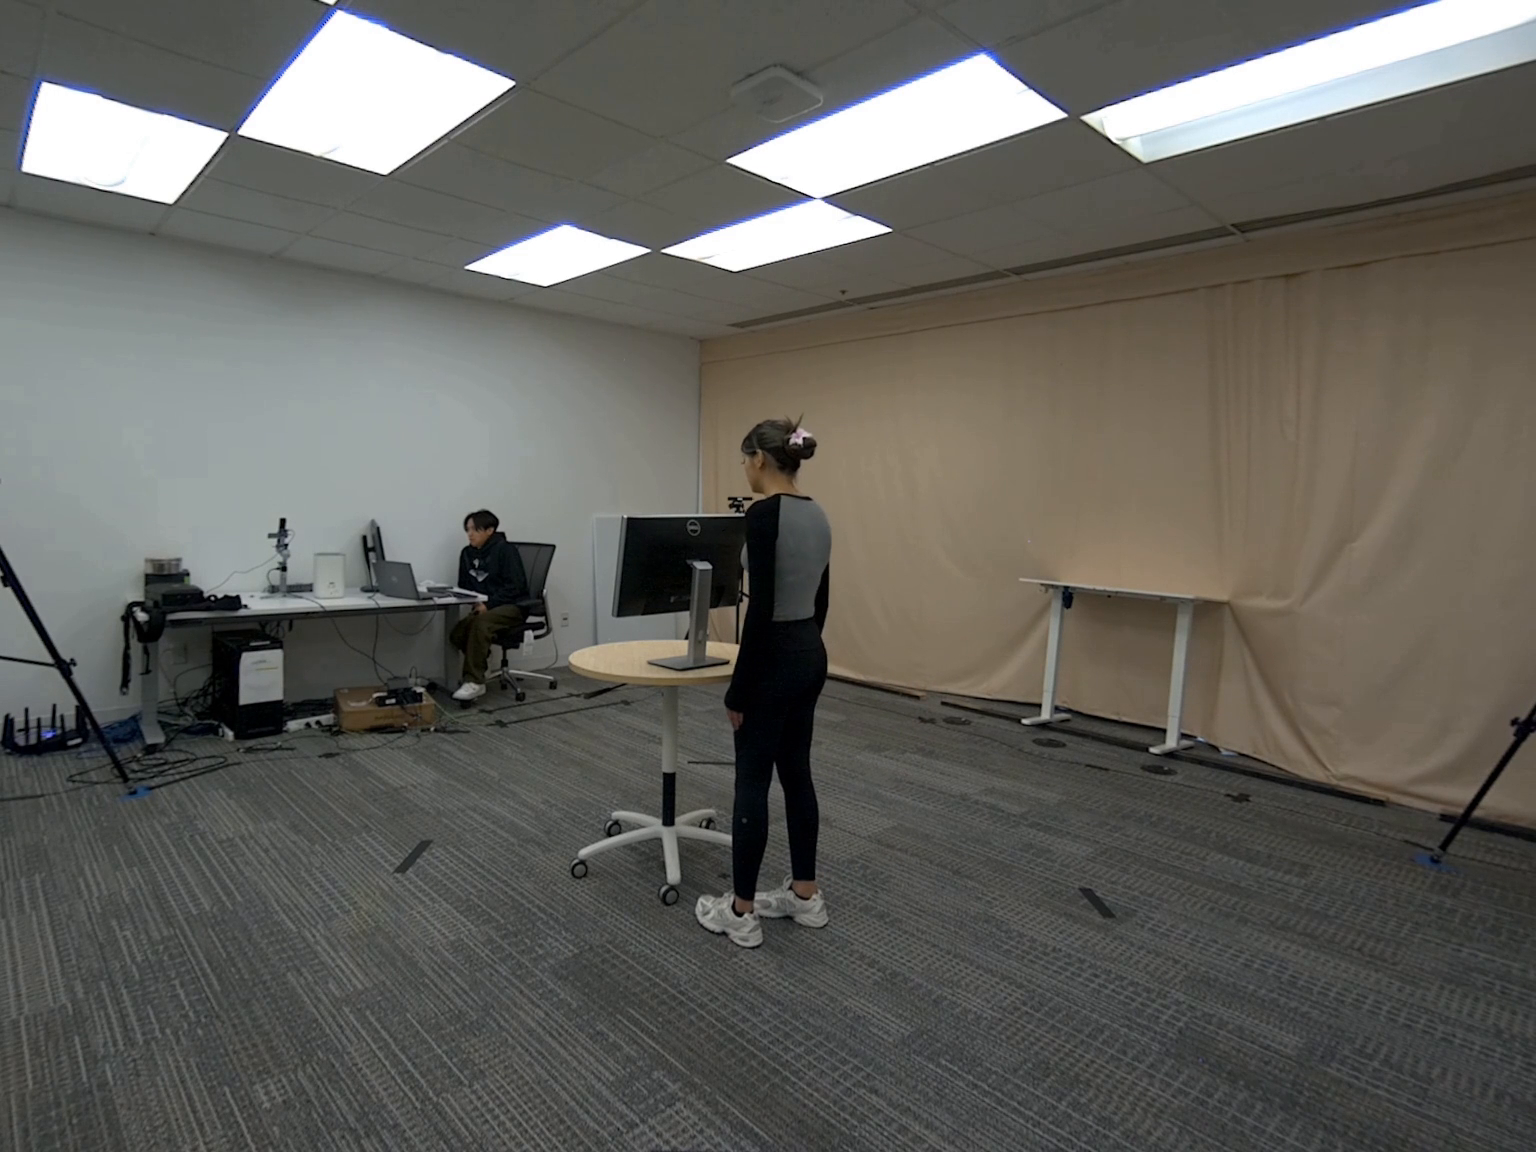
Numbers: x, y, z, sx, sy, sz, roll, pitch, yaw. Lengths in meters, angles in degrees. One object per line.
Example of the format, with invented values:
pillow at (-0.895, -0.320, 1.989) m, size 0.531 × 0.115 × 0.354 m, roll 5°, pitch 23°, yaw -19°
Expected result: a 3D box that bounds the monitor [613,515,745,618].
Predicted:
monitor at (-0.289, 0.053, 3.042) m, size 0.527 × 0.522 × 0.192 m, roll -3°, pitch 3°, yaw -43°
